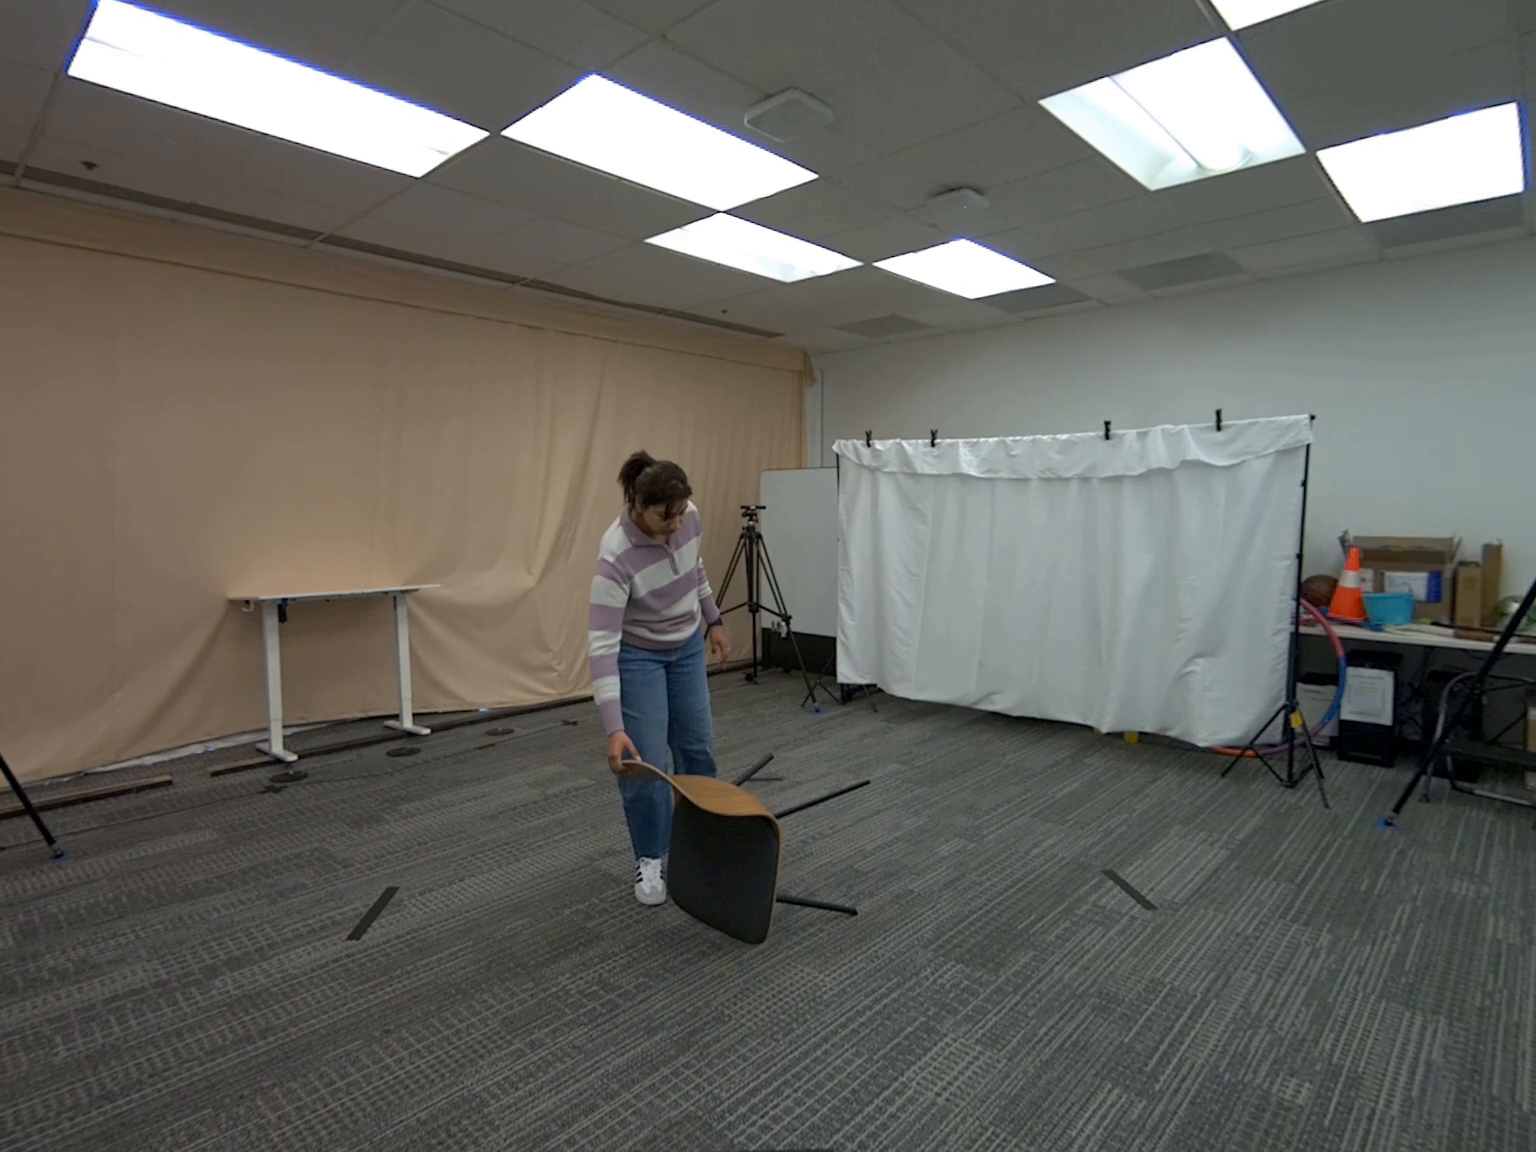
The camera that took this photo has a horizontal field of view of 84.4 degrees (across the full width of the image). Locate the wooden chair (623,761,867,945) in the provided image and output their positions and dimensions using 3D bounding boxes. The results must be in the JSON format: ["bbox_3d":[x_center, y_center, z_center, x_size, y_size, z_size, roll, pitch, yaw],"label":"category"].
[{"bbox_3d":[-0.114,0.884,2.727,0.494,0.524,0.846,4,-7,42],"label":"wooden chair"}]
